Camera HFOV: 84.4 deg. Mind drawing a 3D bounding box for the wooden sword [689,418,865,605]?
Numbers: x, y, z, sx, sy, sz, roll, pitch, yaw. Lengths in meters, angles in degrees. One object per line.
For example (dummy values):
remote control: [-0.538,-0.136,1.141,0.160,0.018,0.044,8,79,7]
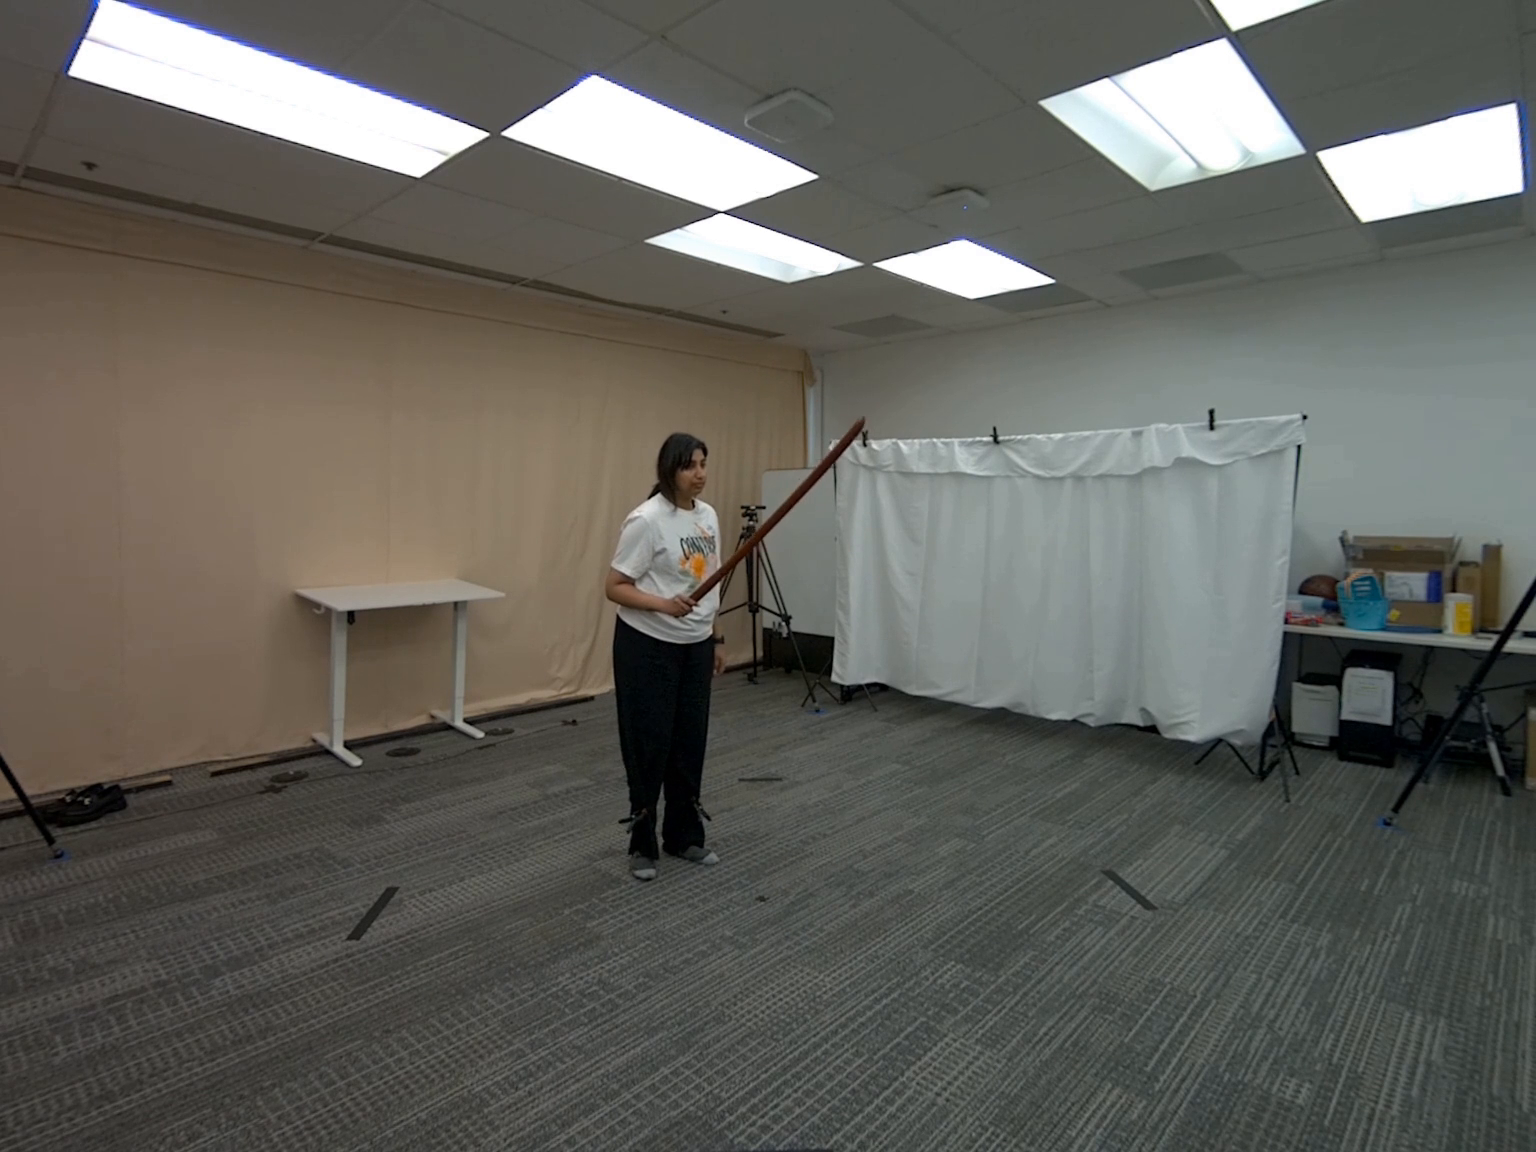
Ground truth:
wooden sword: [-0.008,-0.165,2.741,1.033,0.051,0.024,-44,0,33]
